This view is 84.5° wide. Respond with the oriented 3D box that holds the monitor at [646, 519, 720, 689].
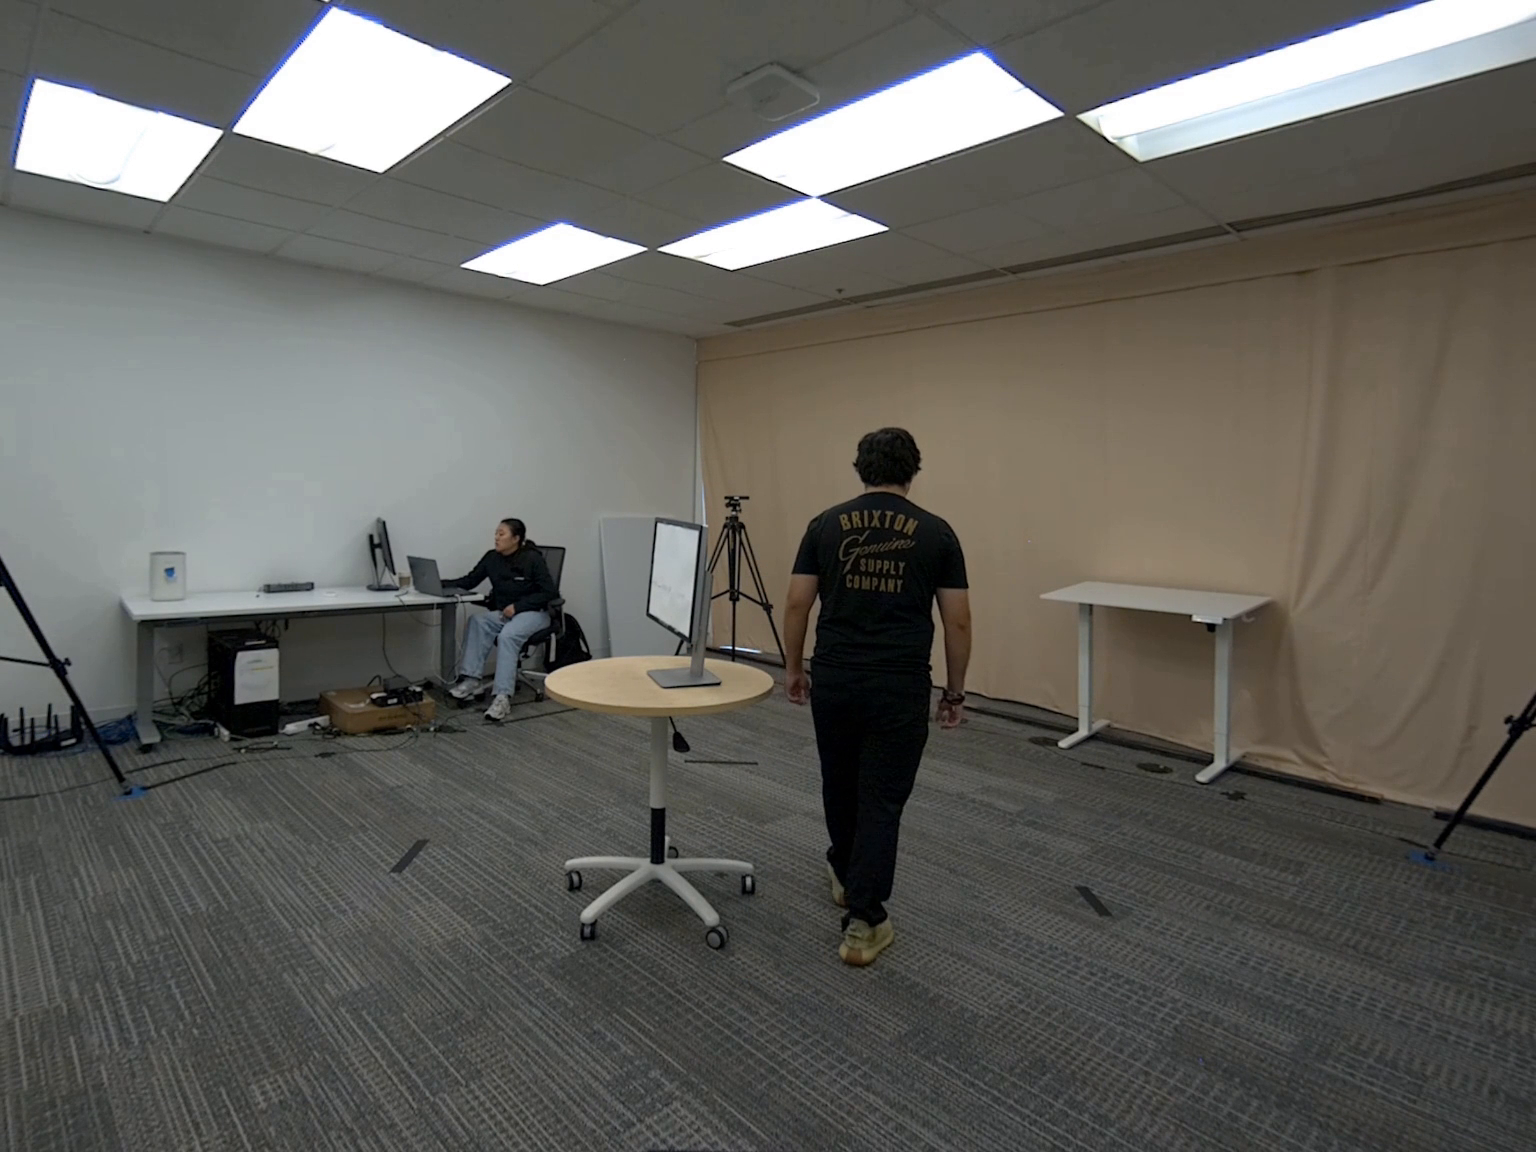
[{"bbox_3d":[-0.263,0.087,2.831,0.207,0.553,0.575,2,4,-21],"label":"monitor"}]
